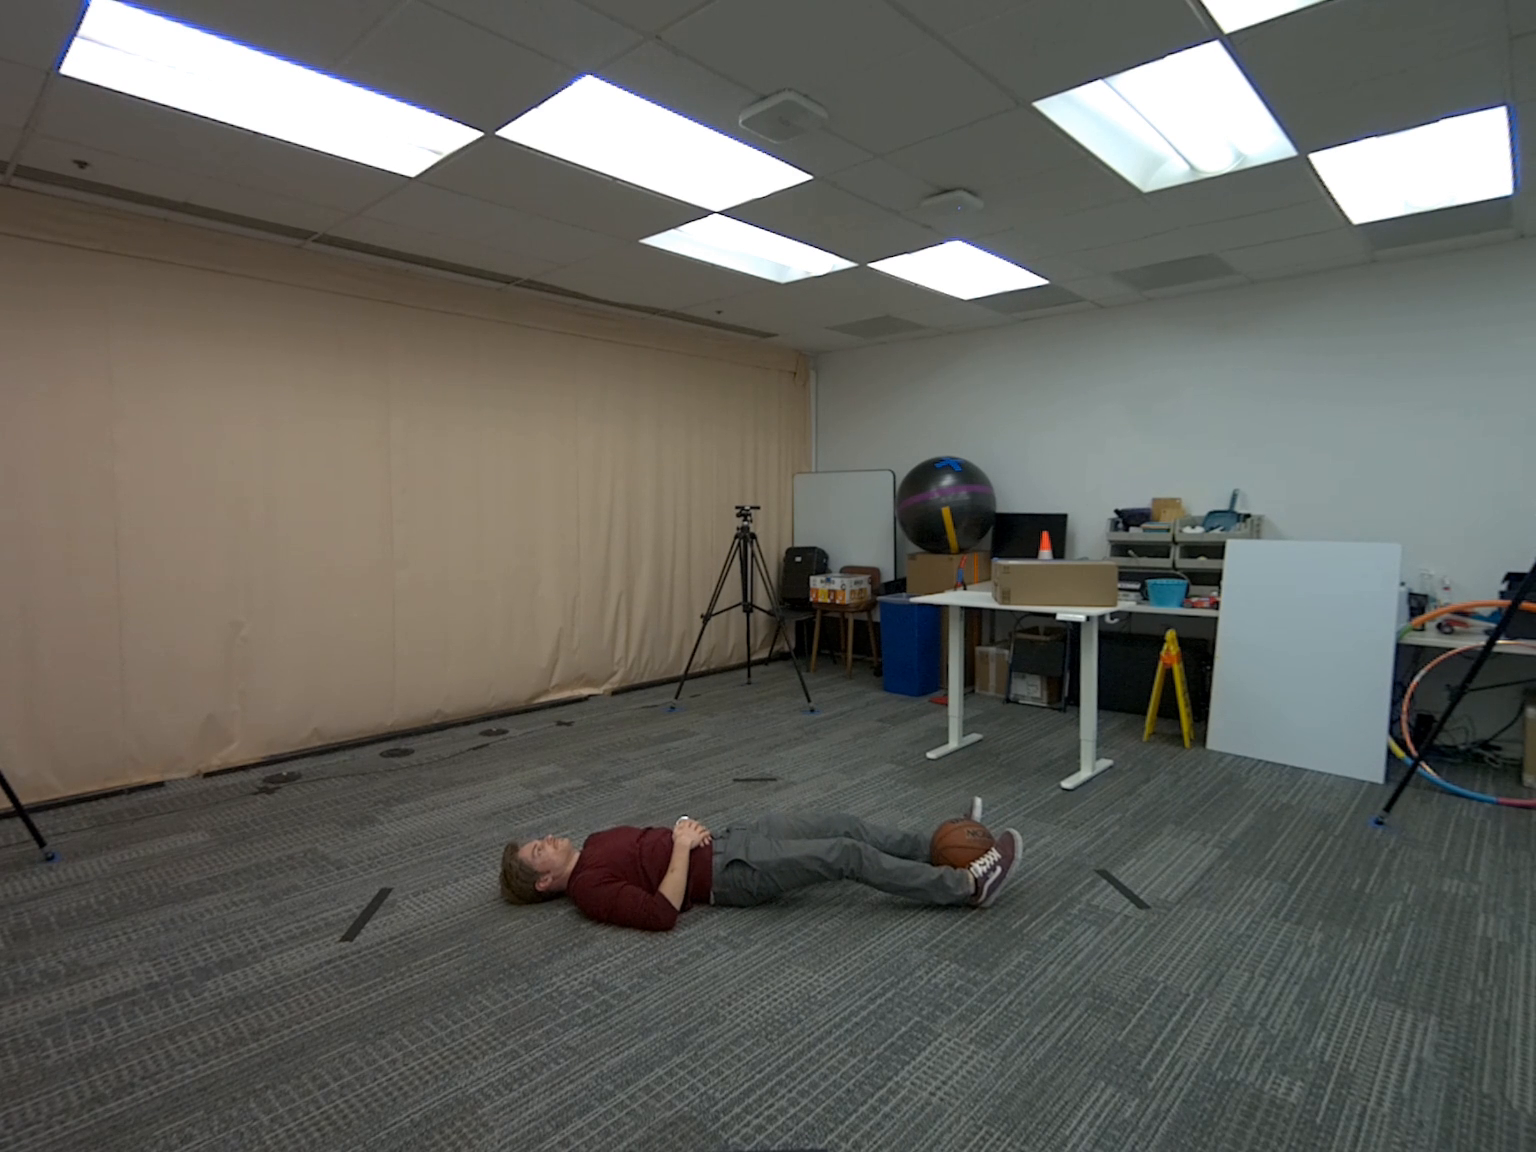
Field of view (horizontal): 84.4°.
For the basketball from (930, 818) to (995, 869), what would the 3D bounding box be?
[{"bbox_3d":[0.715,1.000,3.049,0.235,0.235,0.237,3,5,-2],"label":"basketball"}]
